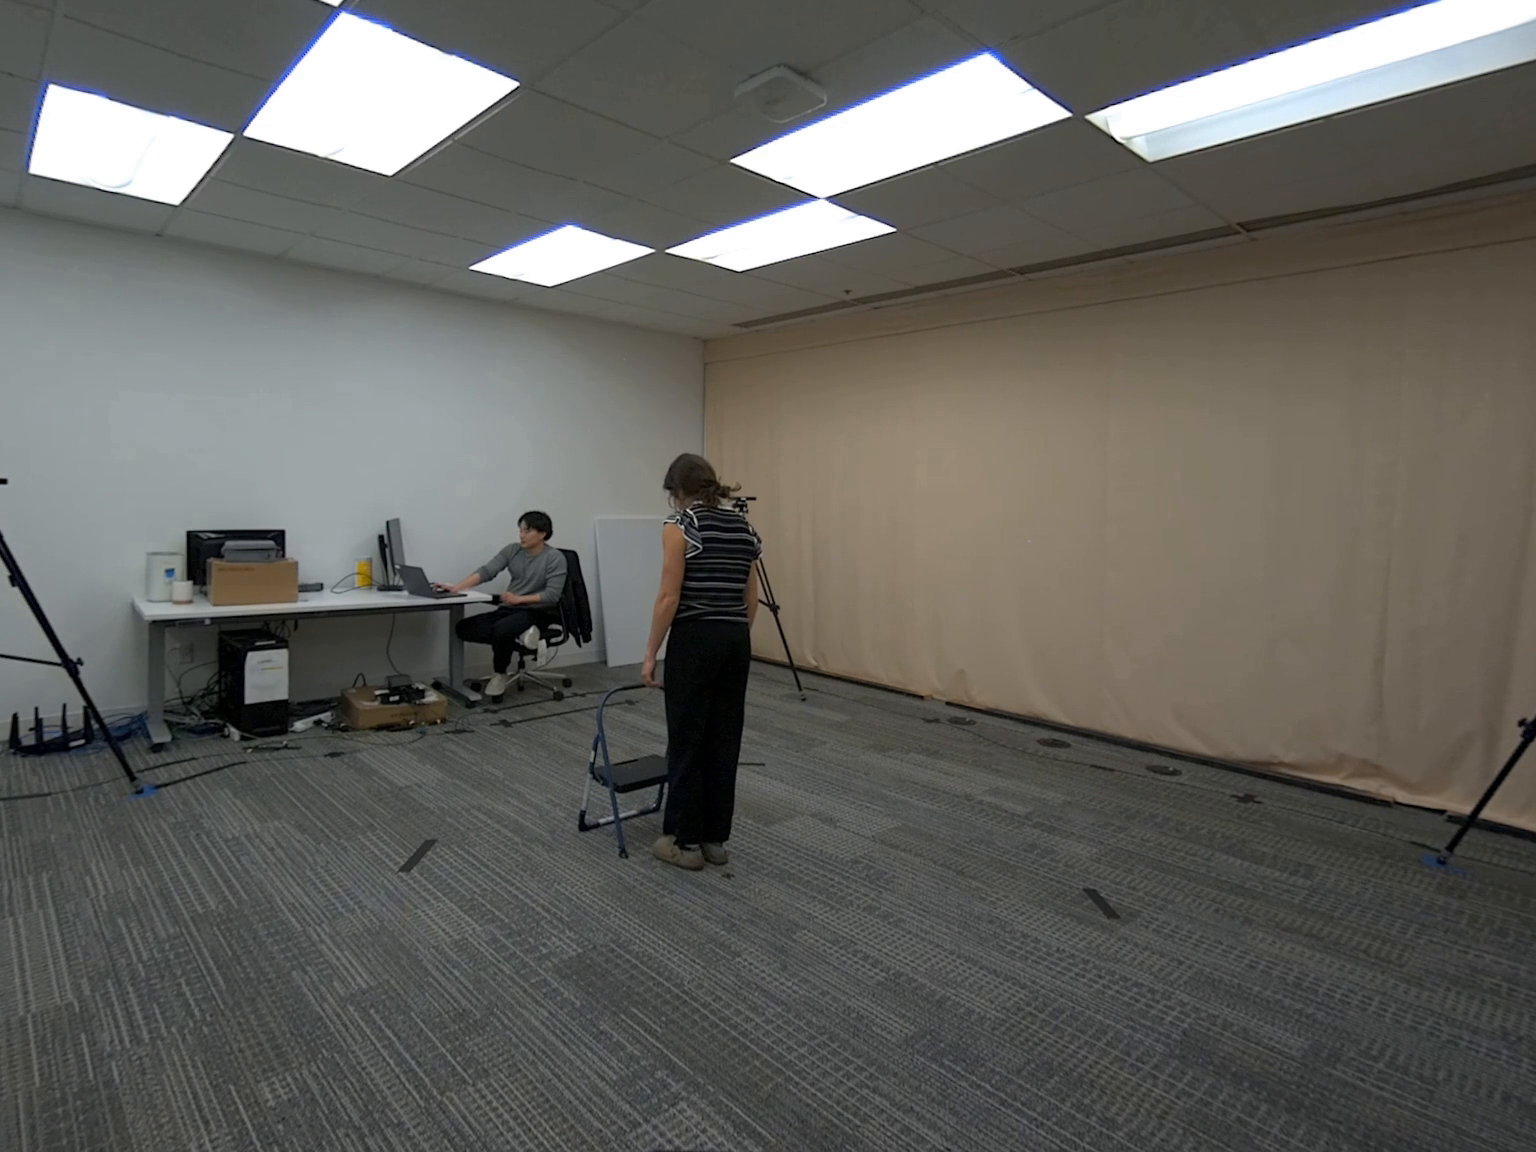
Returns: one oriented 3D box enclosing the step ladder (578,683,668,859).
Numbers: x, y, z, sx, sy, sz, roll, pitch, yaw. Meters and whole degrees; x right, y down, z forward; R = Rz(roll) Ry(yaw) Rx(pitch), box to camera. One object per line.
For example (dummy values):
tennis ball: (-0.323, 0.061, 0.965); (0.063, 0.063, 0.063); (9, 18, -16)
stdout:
step ladder: (-0.520, 0.762, 3.482); (0.420, 0.604, 0.358); (-1, 5, -43)
